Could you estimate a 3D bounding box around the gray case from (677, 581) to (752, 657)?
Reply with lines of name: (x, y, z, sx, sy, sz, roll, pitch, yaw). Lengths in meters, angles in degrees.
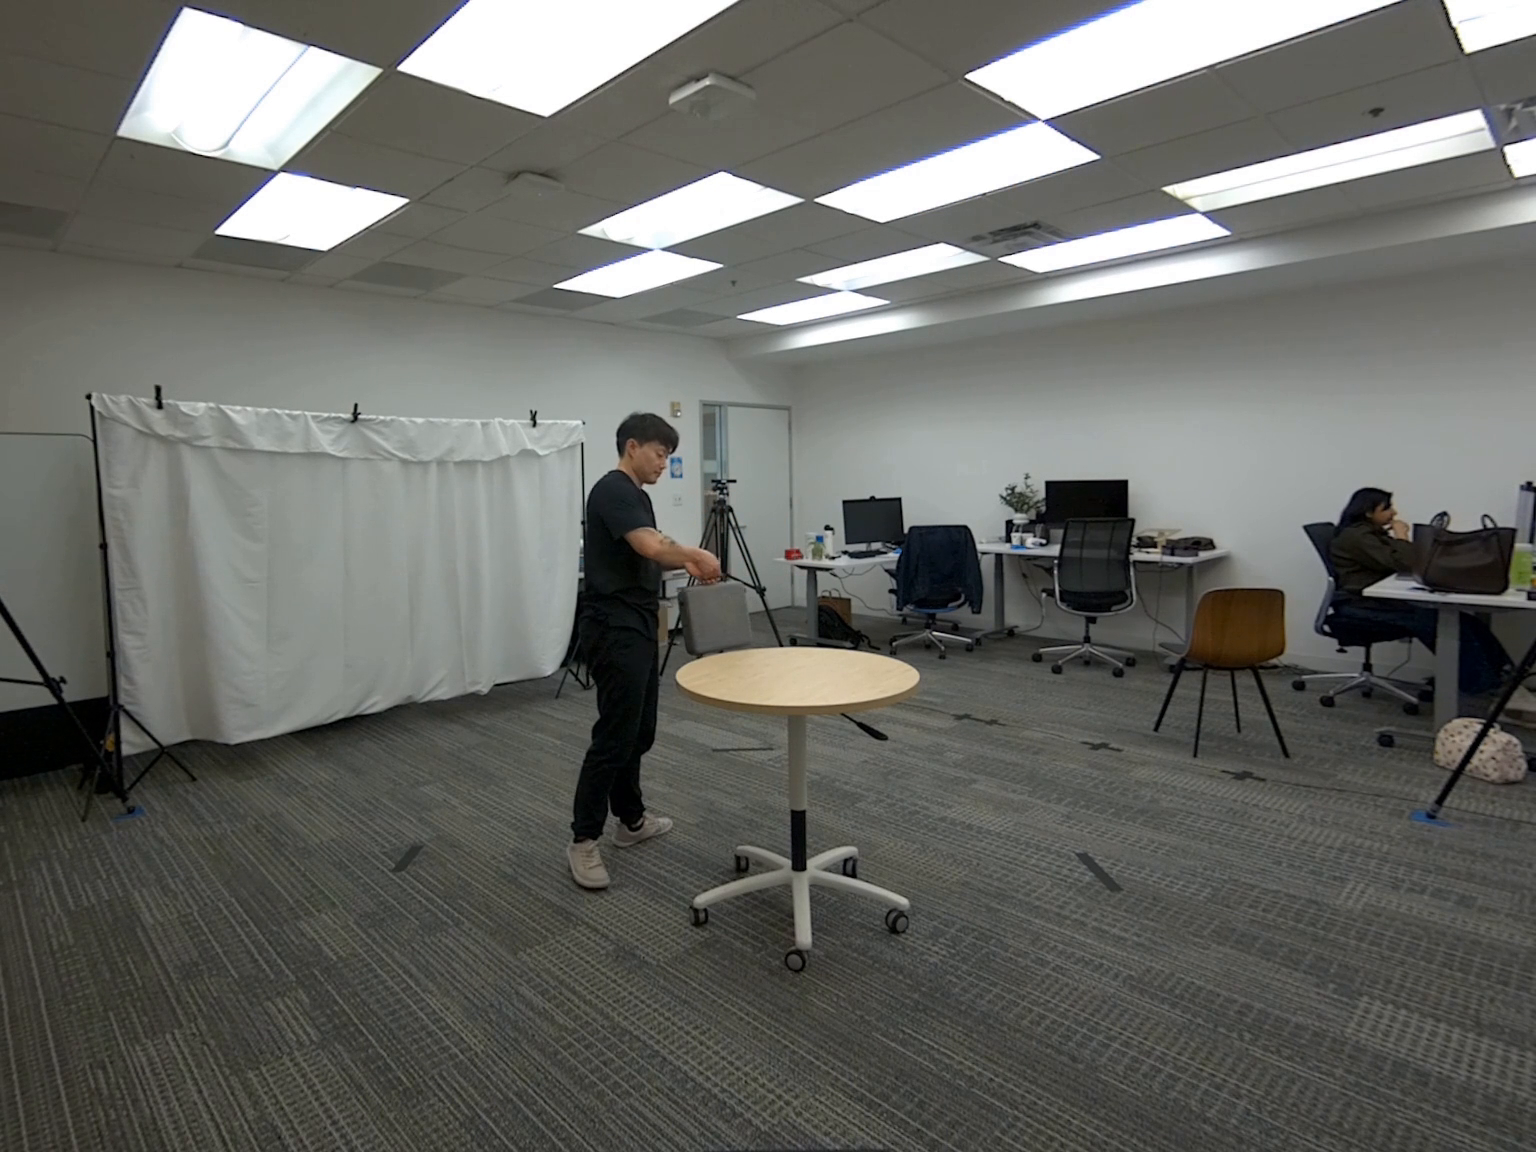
gray case: (-0.200, 0.151, 3.223, 0.252, 0.261, 0.106, -8, -2, -24)
